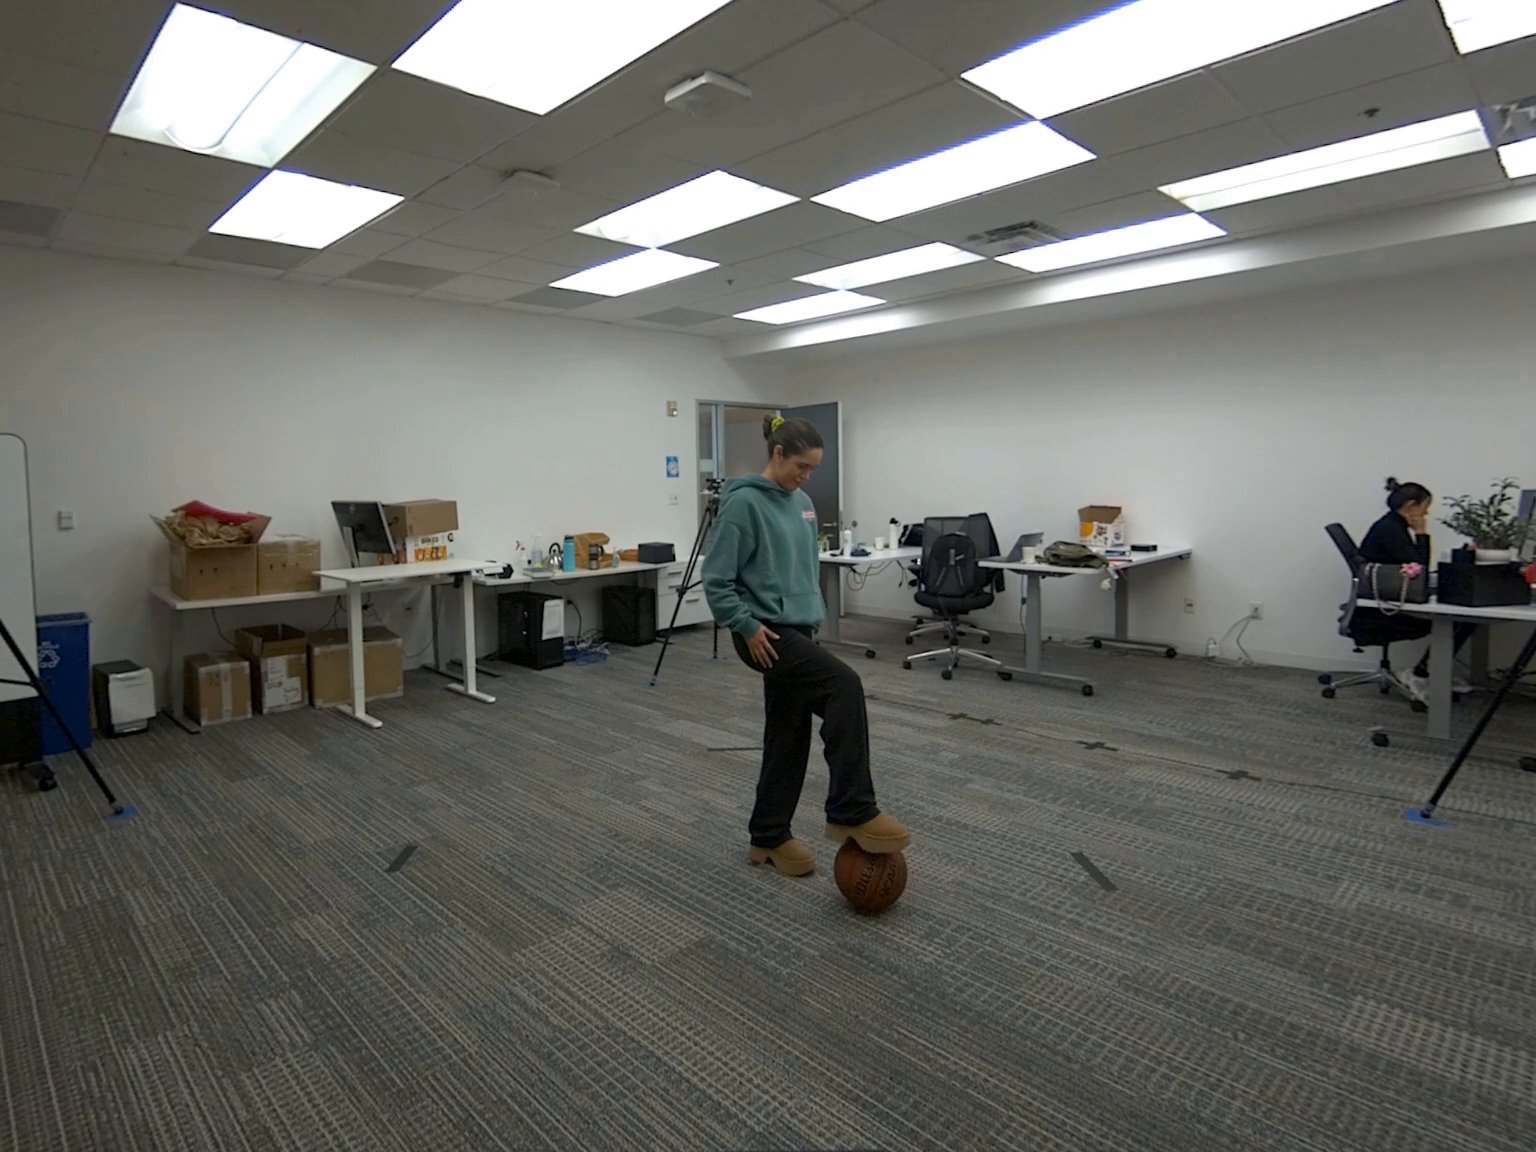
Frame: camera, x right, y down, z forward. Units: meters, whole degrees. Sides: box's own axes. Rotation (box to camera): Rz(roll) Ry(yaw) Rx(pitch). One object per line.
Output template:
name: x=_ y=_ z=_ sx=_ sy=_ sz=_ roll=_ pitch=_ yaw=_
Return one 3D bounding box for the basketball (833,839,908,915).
basketball: x=0.340 y=0.958 z=2.783 sx=0.236 sy=0.235 sz=0.237 roll=-1 pitch=5 yaw=-2
